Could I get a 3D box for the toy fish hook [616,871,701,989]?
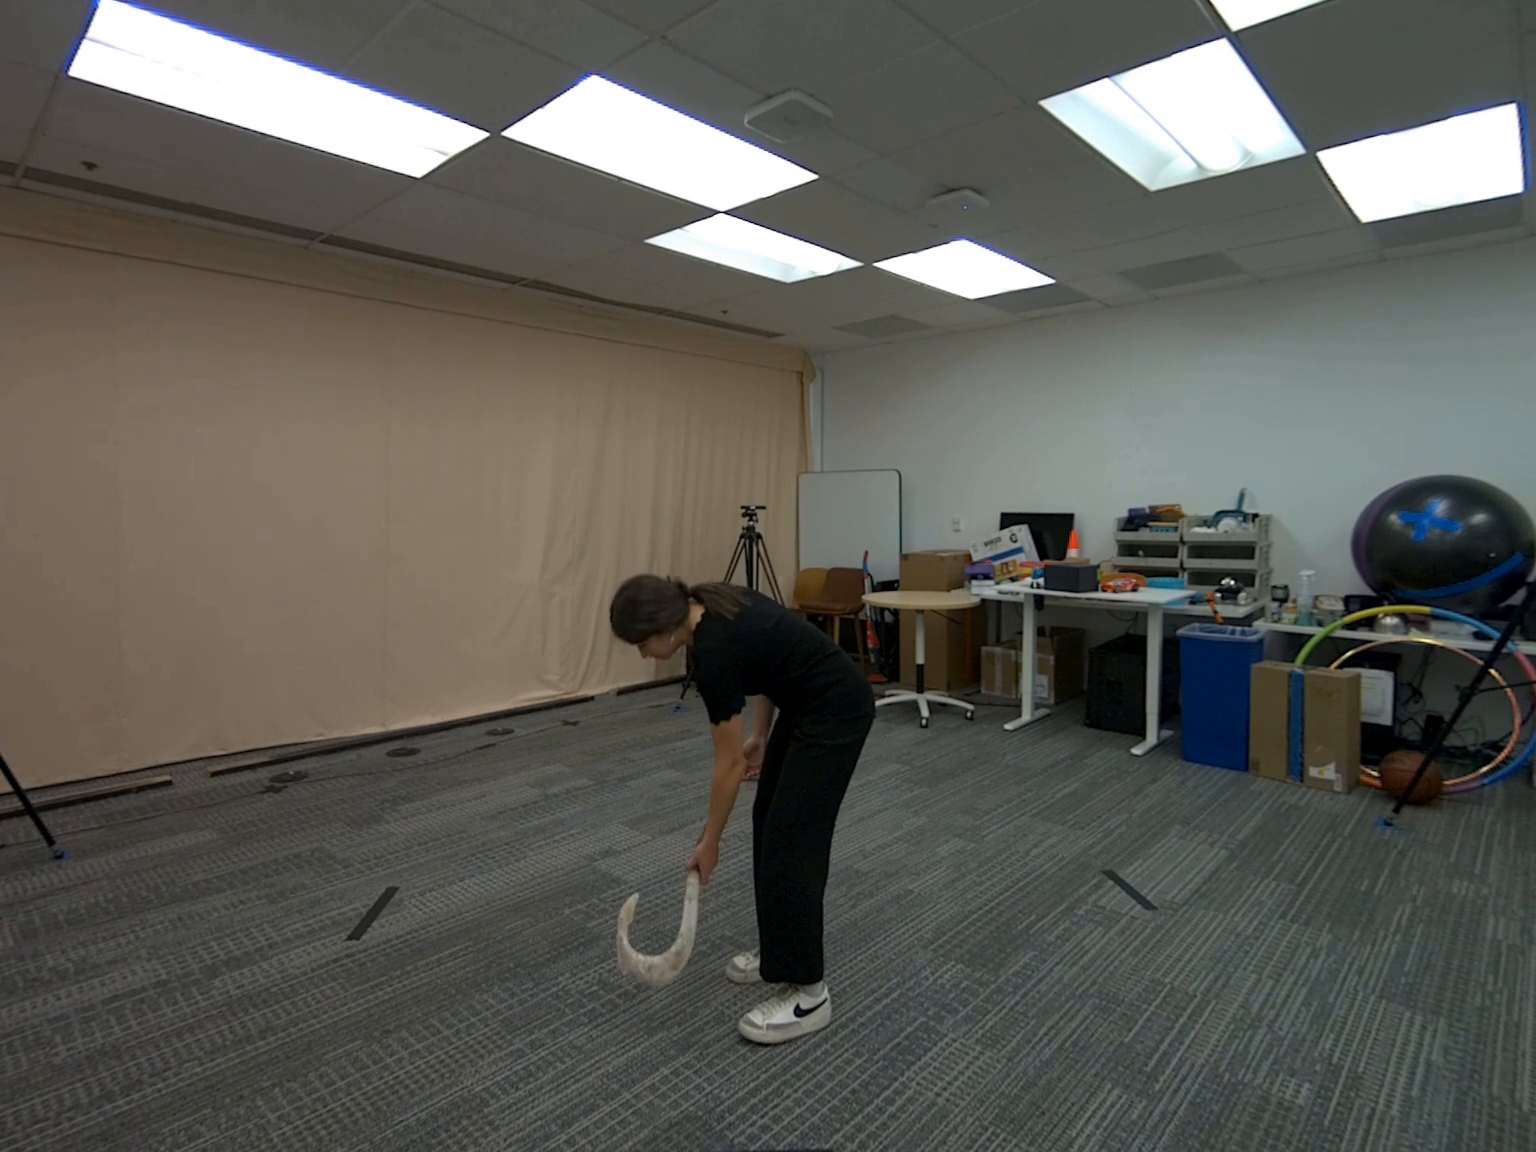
[{"bbox_3d":[-0.260,0.860,2.318,0.229,0.508,0.047,14,-23,15],"label":"toy fish hook"}]
